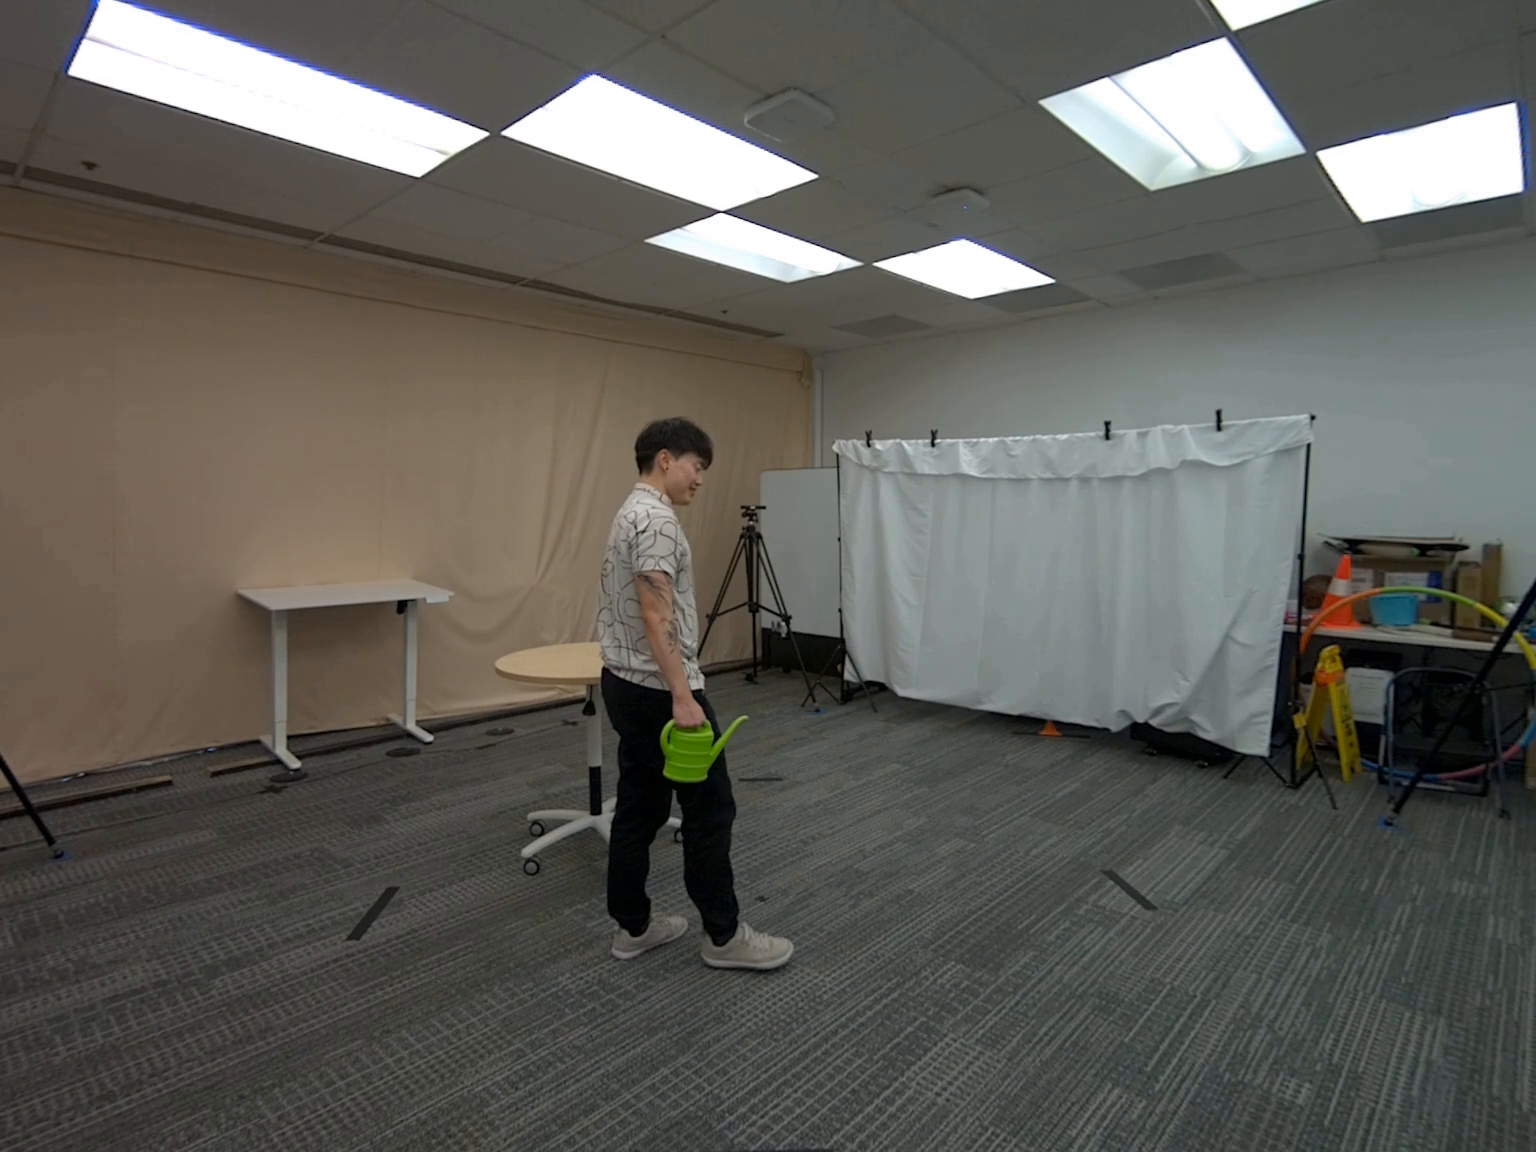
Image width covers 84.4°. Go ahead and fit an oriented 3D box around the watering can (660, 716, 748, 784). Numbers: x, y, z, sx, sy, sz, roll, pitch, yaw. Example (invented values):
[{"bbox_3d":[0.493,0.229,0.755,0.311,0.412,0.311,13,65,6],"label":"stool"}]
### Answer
[{"bbox_3d":[-0.172,0.477,2.357,0.271,0.177,0.100,6,1,-23],"label":"watering can"}]
